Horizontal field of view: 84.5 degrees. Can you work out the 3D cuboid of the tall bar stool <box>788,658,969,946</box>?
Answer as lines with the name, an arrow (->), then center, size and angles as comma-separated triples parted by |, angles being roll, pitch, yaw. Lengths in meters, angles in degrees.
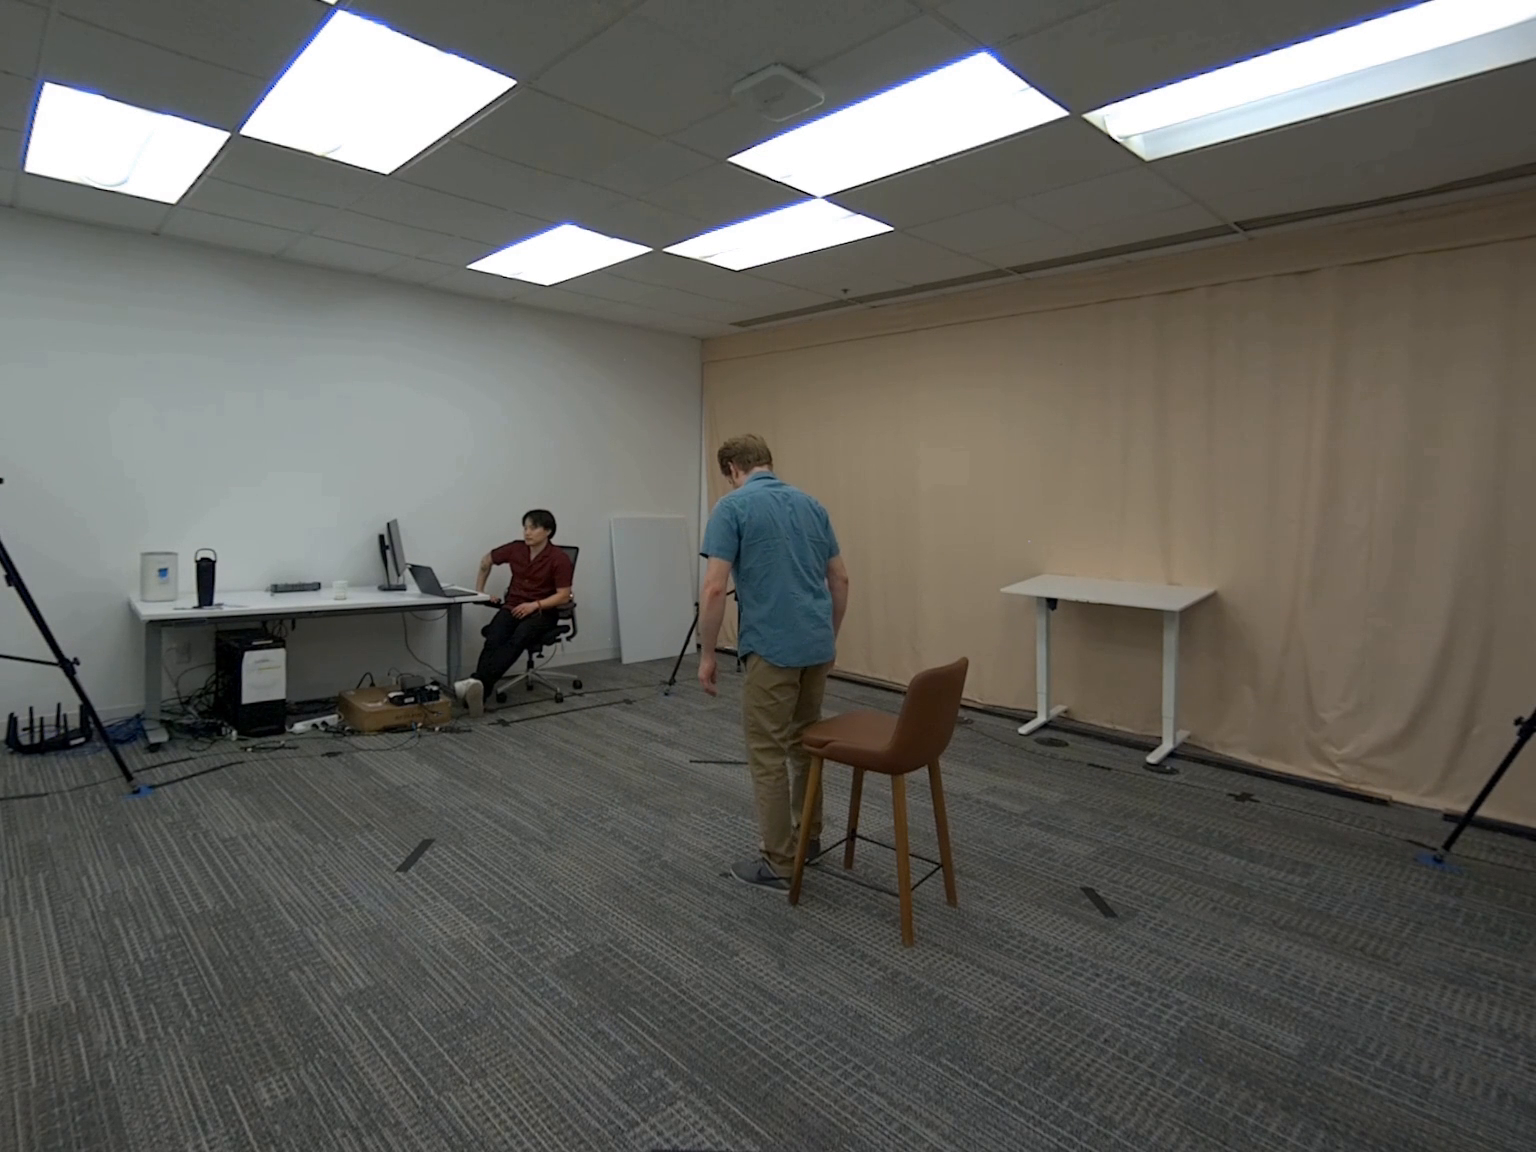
tall bar stool -> 0.374, 0.700, 2.876 | 0.479, 0.887, 0.447 | 7, 6, 36
